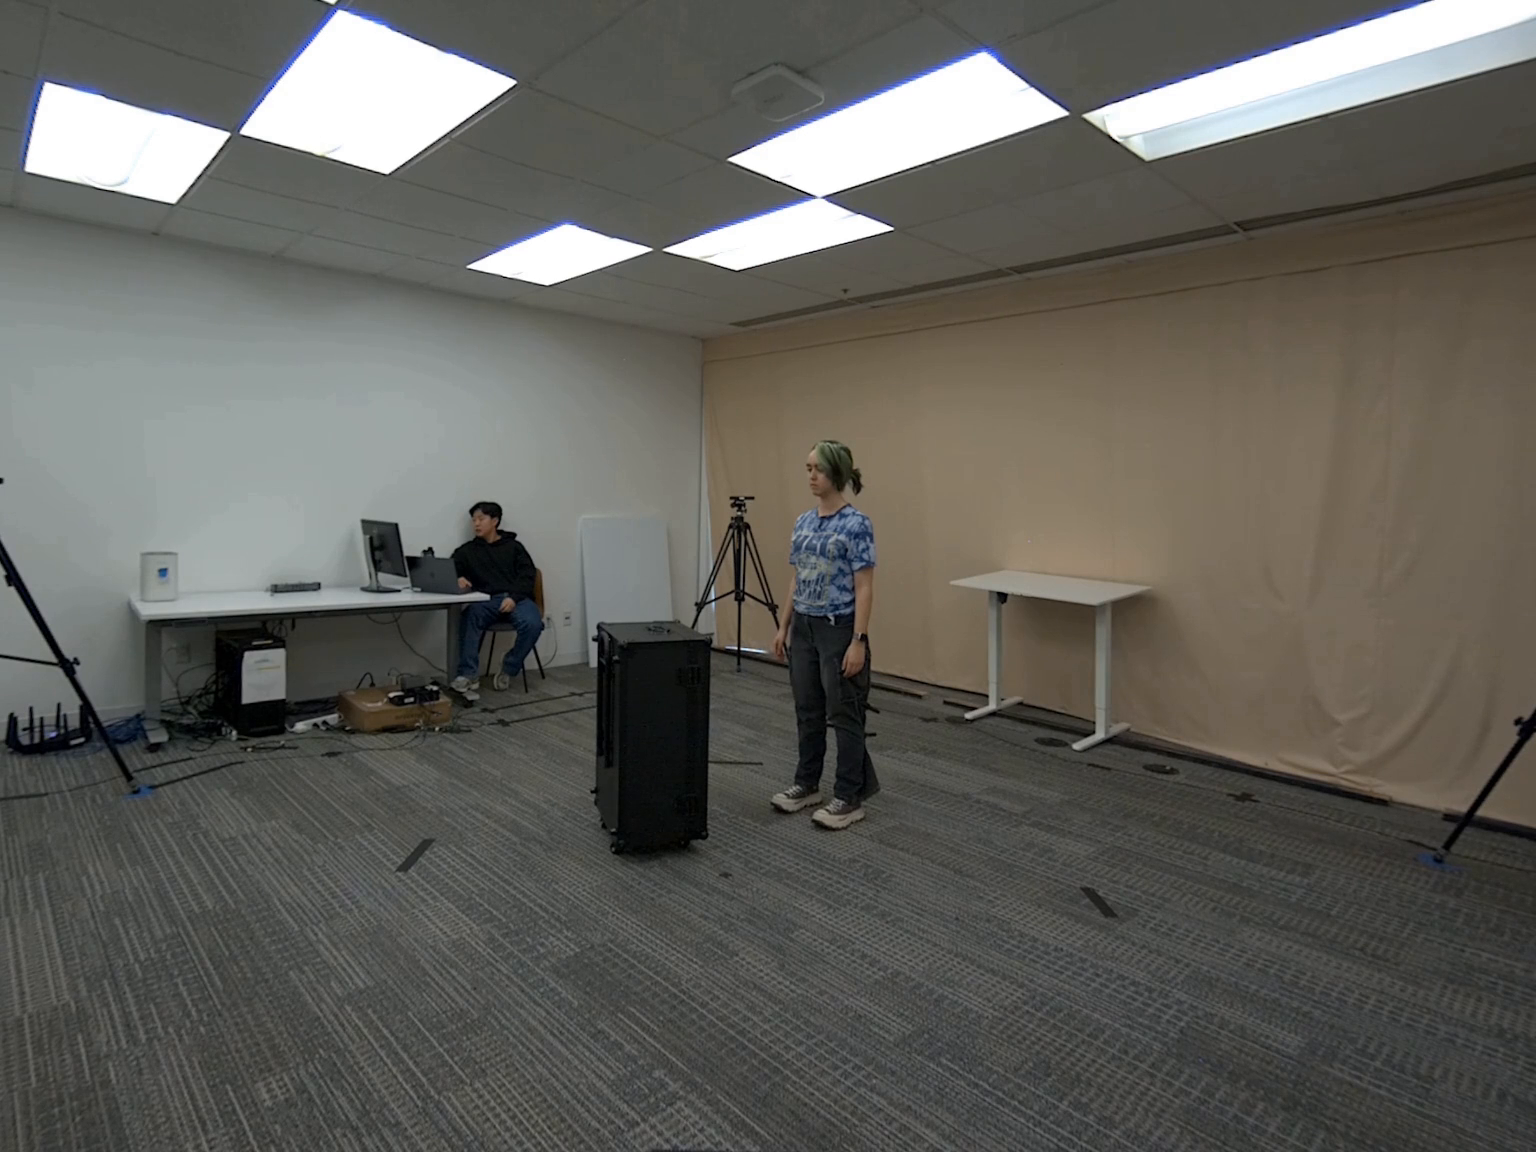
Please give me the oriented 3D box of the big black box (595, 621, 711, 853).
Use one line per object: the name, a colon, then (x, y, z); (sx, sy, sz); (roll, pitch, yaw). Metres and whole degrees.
big black box: (-0.492, 0.582, 3.405); (0.390, 0.859, 0.531); (0, 4, -21)
